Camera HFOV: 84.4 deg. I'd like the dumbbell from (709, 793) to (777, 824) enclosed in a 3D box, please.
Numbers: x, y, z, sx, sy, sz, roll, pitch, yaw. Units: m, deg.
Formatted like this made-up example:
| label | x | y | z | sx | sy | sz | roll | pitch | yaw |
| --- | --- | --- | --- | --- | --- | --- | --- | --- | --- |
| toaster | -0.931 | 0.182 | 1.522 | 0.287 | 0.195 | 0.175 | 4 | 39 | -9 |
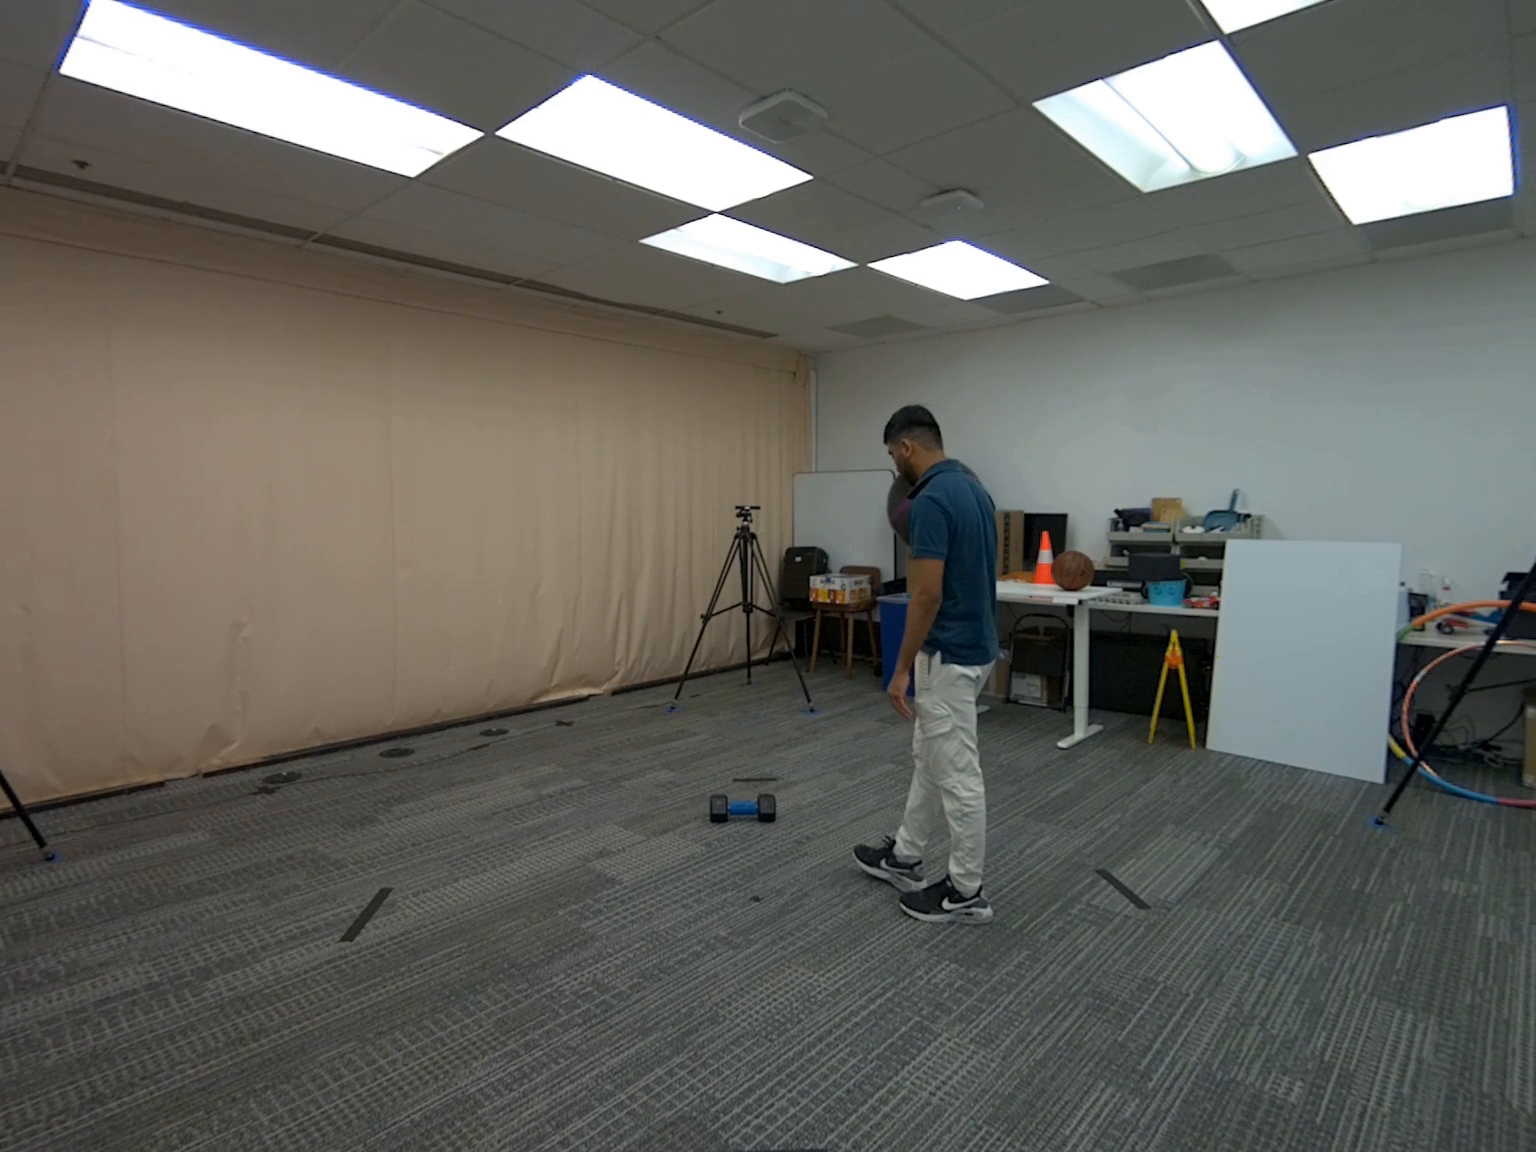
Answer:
| label | x | y | z | sx | sy | sz | roll | pitch | yaw |
| --- | --- | --- | --- | --- | --- | --- | --- | --- | --- |
| dumbbell | -0.116 | 1.030 | 3.732 | 0.293 | 0.125 | 0.107 | 0 | -26 | -1 |
